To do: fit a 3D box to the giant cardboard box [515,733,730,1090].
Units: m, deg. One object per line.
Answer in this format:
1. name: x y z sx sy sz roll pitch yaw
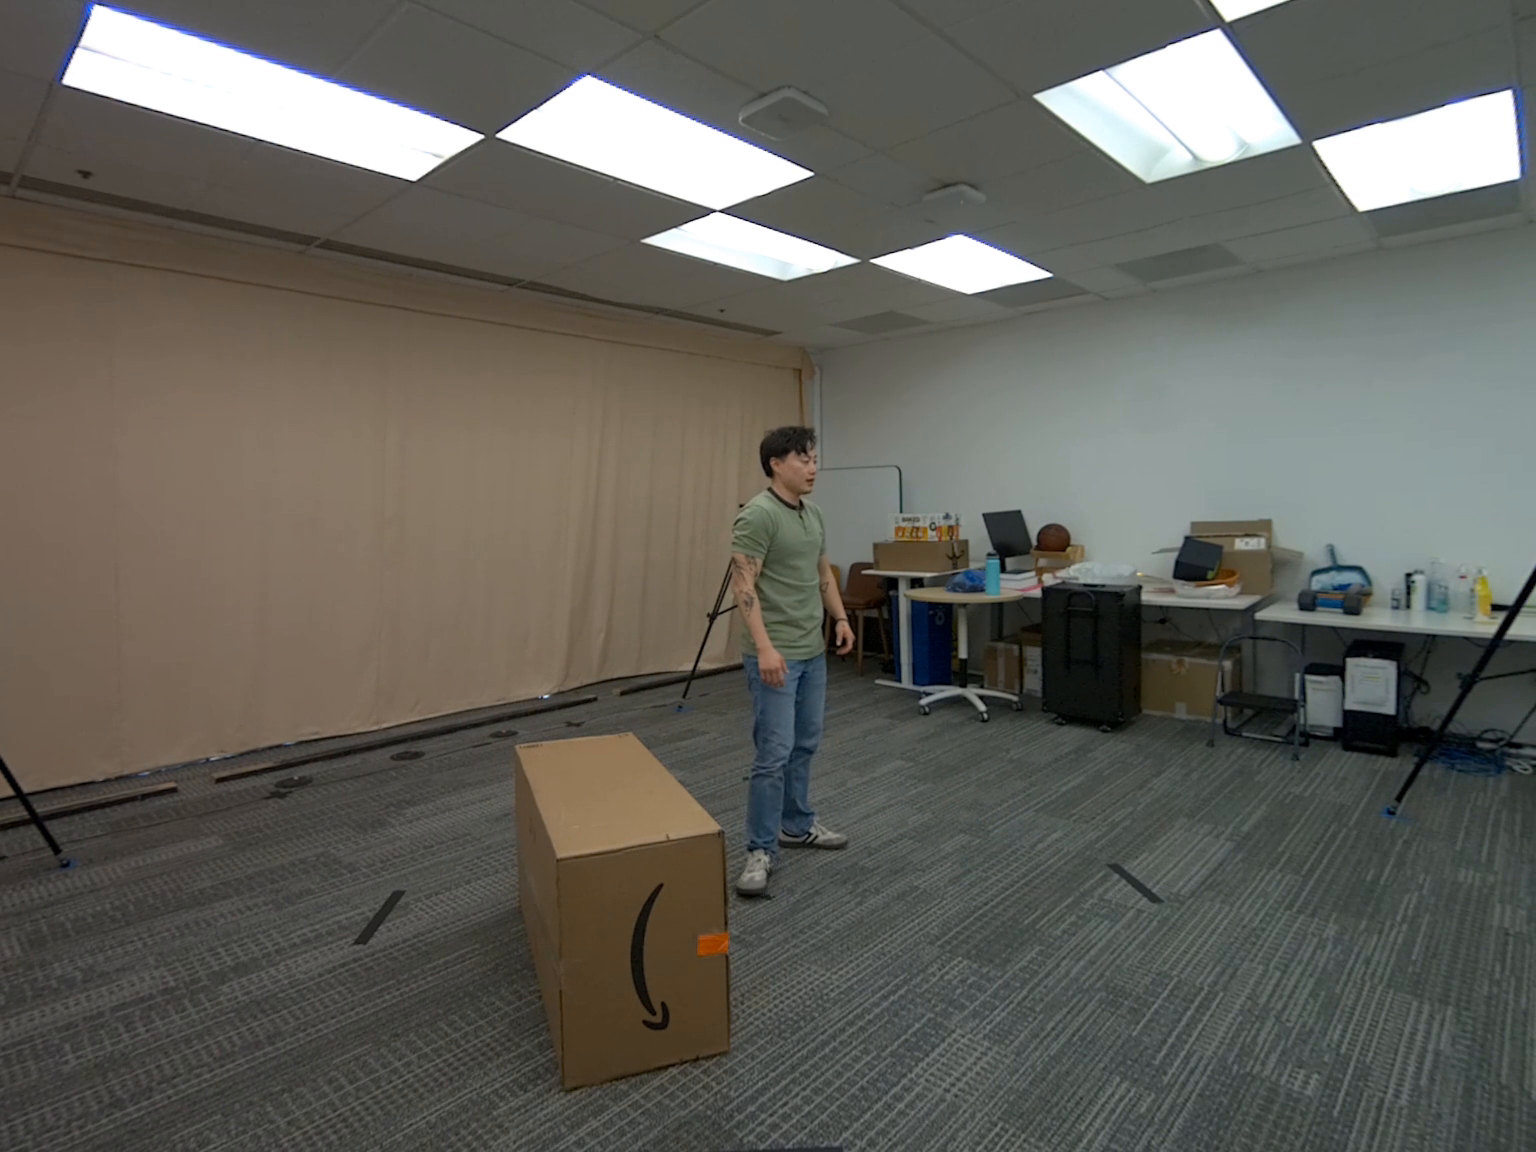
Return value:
1. giant cardboard box: -0.489 0.898 2.534 0.417 0.576 1.049 -2 4 -22
